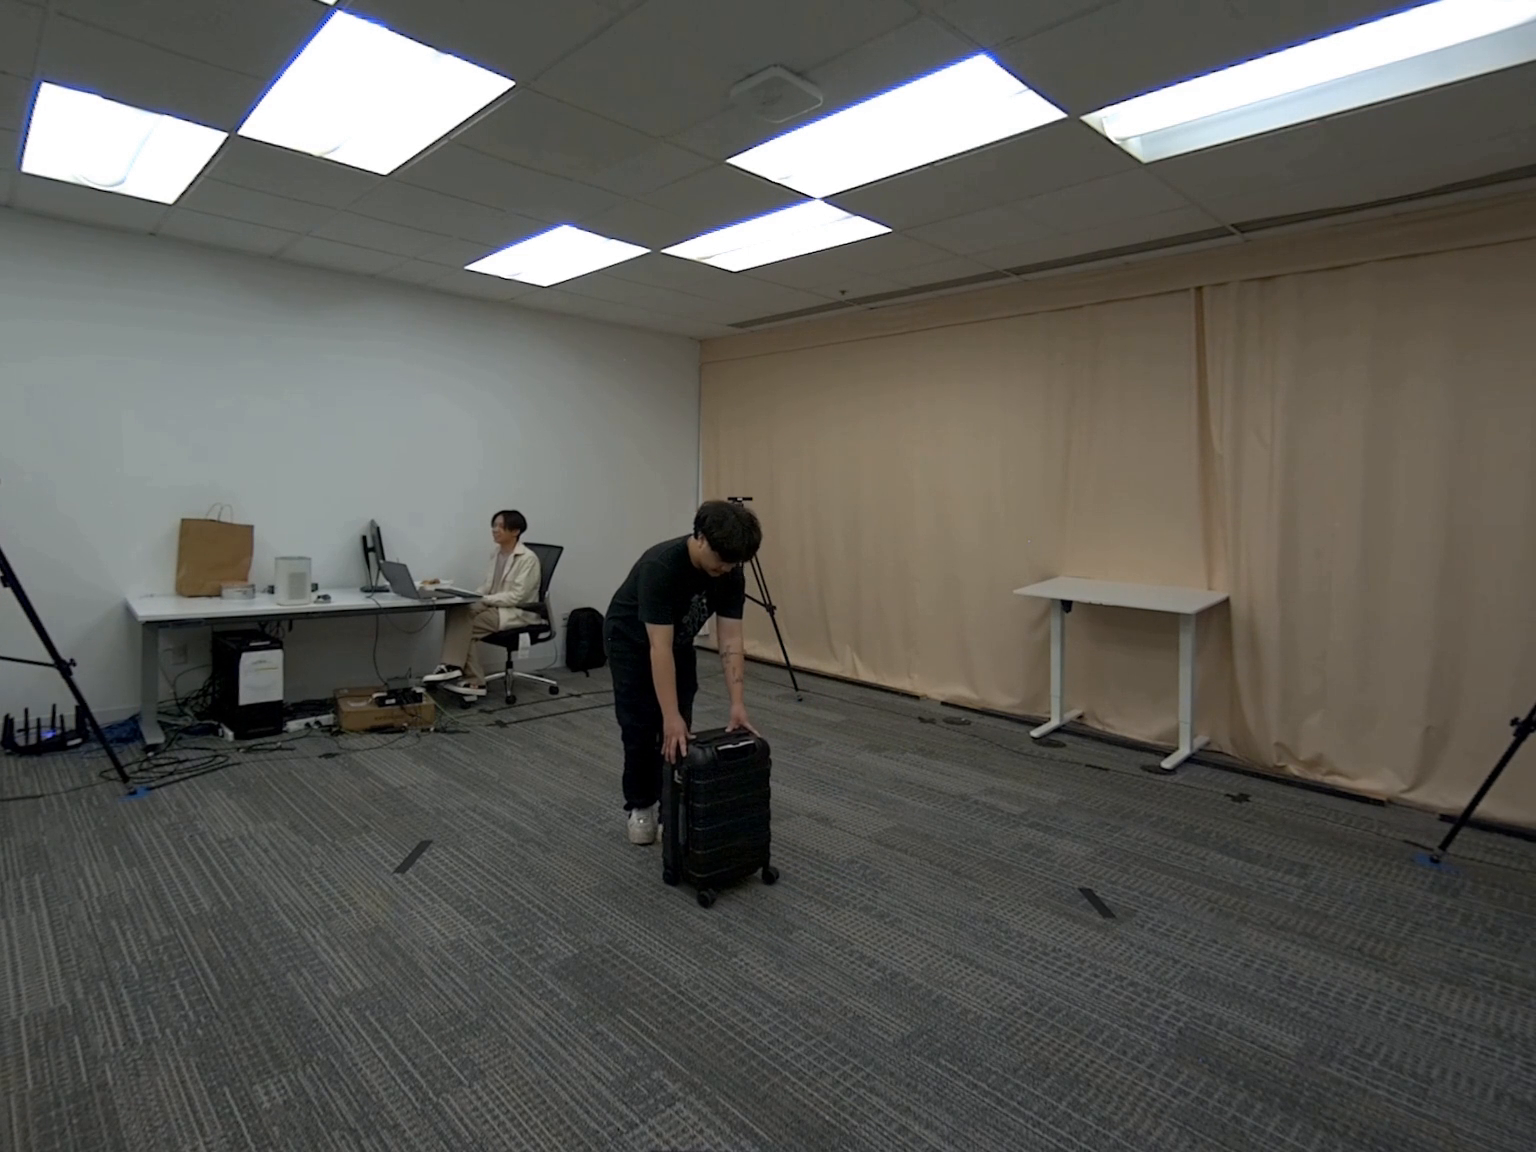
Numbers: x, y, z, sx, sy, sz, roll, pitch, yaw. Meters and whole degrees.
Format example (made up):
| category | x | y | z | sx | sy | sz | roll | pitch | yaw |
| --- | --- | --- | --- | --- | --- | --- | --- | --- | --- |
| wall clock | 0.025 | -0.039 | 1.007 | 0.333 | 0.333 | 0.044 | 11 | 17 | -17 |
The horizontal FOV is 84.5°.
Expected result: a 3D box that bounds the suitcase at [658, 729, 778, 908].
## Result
| category | x | y | z | sx | sy | sz | roll | pitch | yaw |
| --- | --- | --- | --- | --- | --- | --- | --- | --- | --- |
| suitcase | -0.192 | 0.844 | 3.042 | 0.367 | 0.548 | 0.254 | -3 | 3 | -39 |
